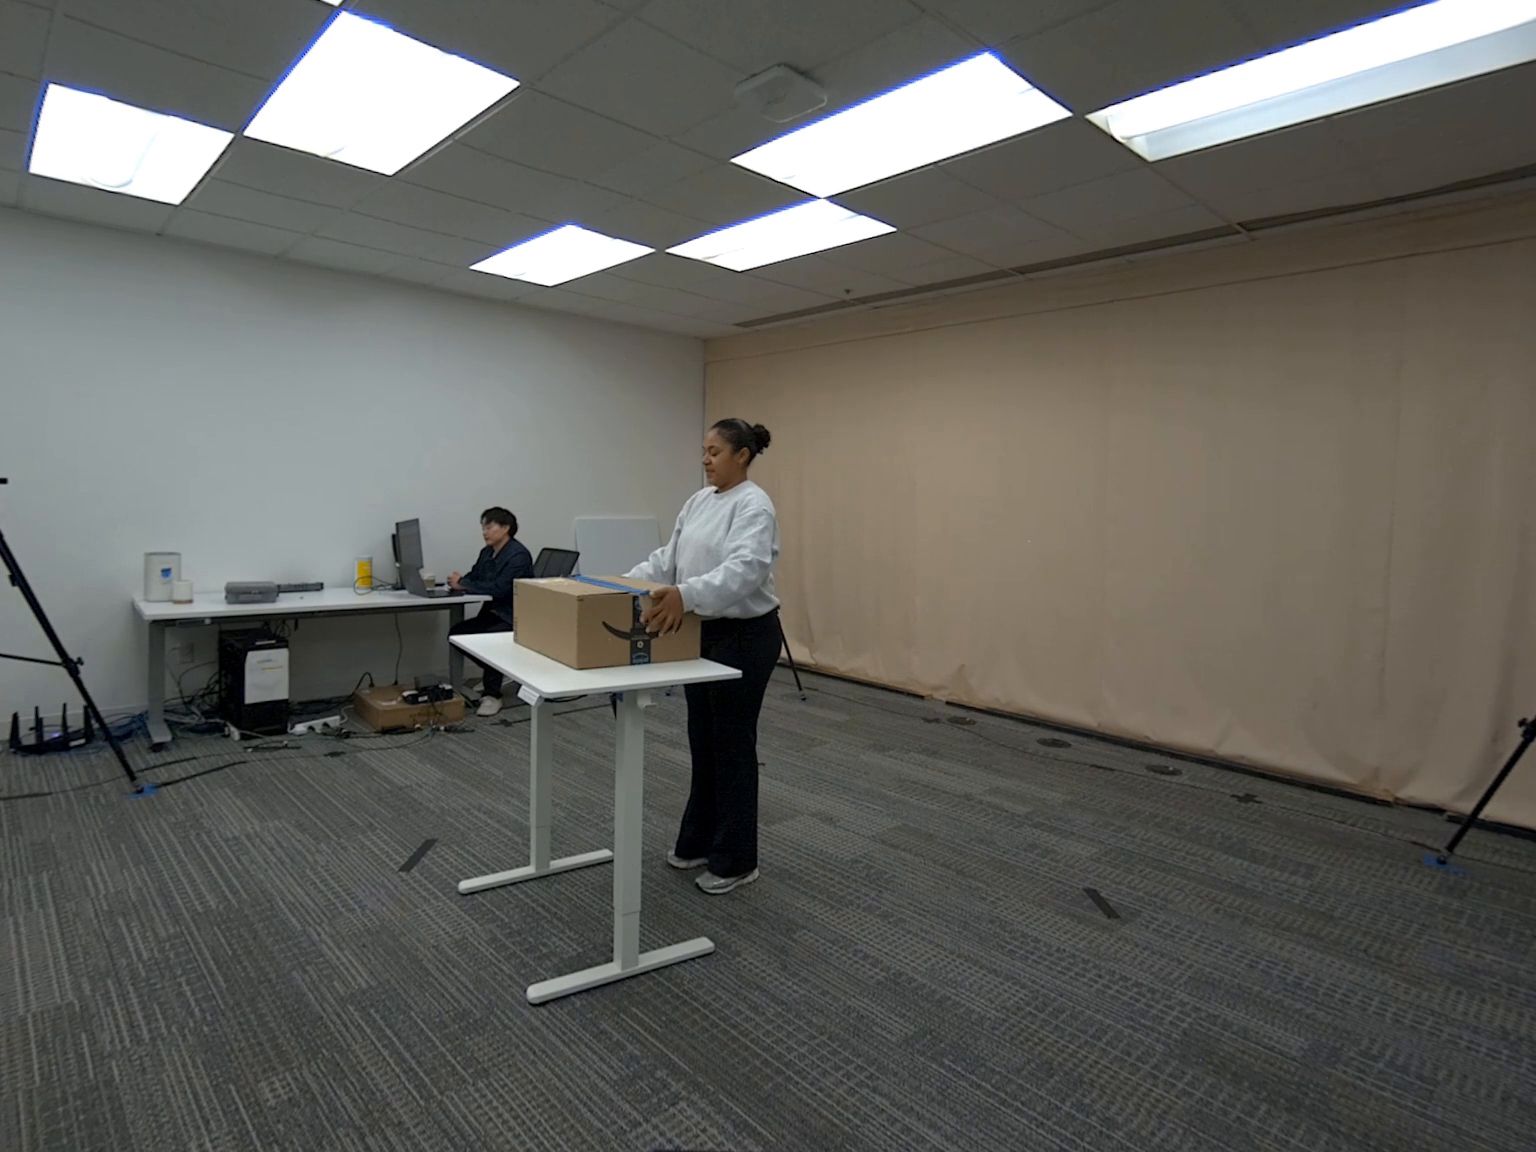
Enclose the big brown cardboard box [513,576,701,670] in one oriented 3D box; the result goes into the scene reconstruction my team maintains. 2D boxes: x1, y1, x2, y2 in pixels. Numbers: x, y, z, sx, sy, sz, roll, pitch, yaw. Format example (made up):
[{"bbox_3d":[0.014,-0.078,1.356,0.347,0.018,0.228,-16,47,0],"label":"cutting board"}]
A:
[{"bbox_3d":[-0.555,0.135,2.762,0.408,0.232,0.603,-1,6,-34],"label":"big brown cardboard box"}]
